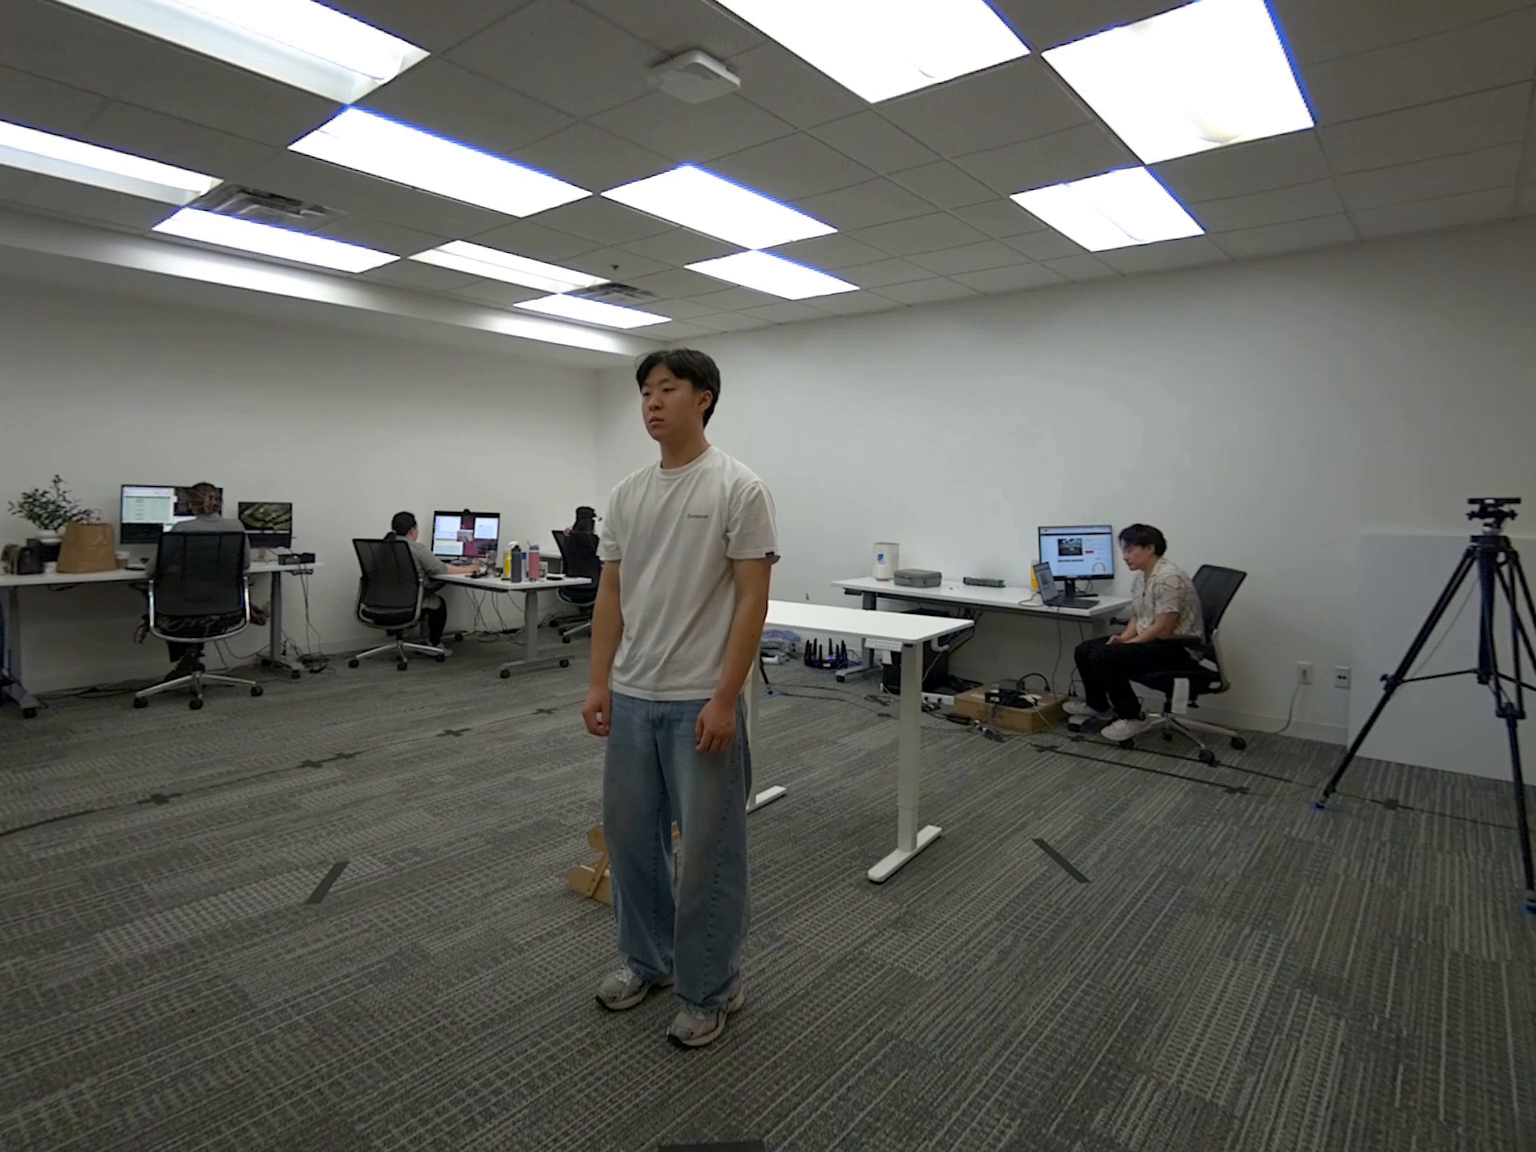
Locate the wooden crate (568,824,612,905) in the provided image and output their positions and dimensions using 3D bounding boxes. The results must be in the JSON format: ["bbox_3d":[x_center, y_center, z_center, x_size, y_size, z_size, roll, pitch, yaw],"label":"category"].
[{"bbox_3d":[-0.494,0.936,2.963,0.311,0.272,0.315,4,5,34],"label":"wooden crate"}]
